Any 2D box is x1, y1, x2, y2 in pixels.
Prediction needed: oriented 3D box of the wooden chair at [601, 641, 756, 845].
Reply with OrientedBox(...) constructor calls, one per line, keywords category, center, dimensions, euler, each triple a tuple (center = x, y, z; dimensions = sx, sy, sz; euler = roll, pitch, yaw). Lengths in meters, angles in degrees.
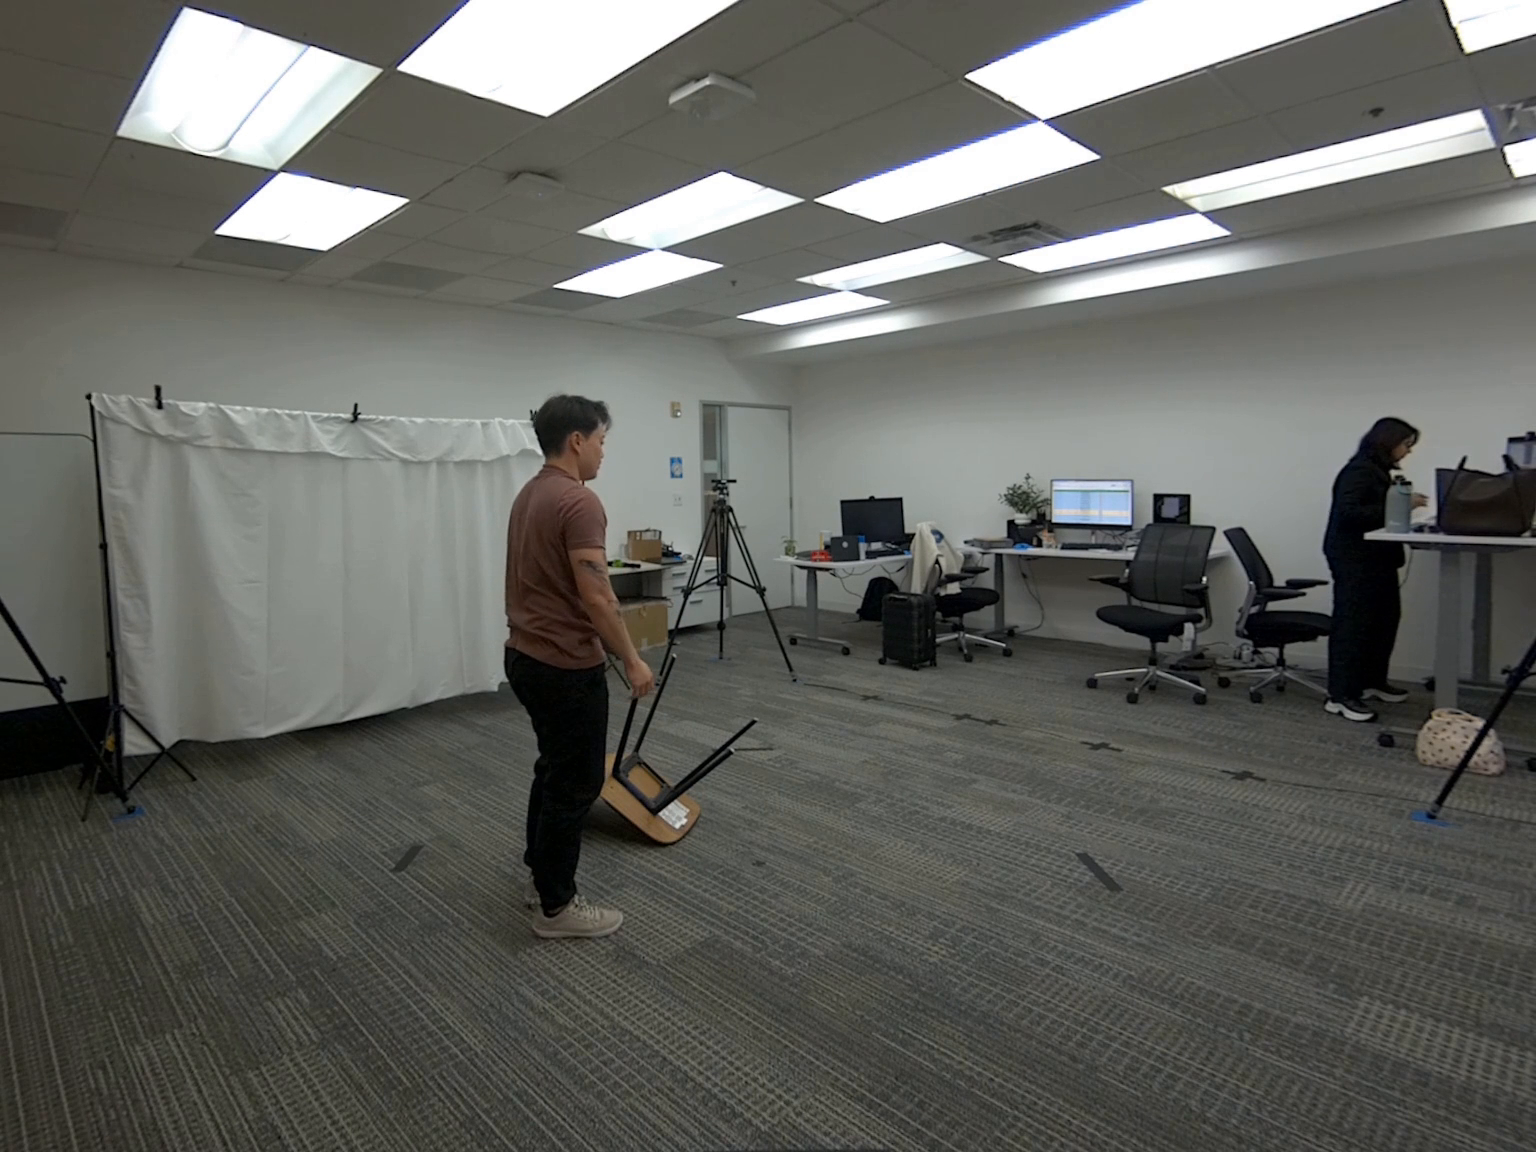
OrientedBox(category="wooden chair", center=(-0.500, 0.843, 3.486), dimensions=(0.529, 0.876, 0.474), euler=(40, 11, 7))
